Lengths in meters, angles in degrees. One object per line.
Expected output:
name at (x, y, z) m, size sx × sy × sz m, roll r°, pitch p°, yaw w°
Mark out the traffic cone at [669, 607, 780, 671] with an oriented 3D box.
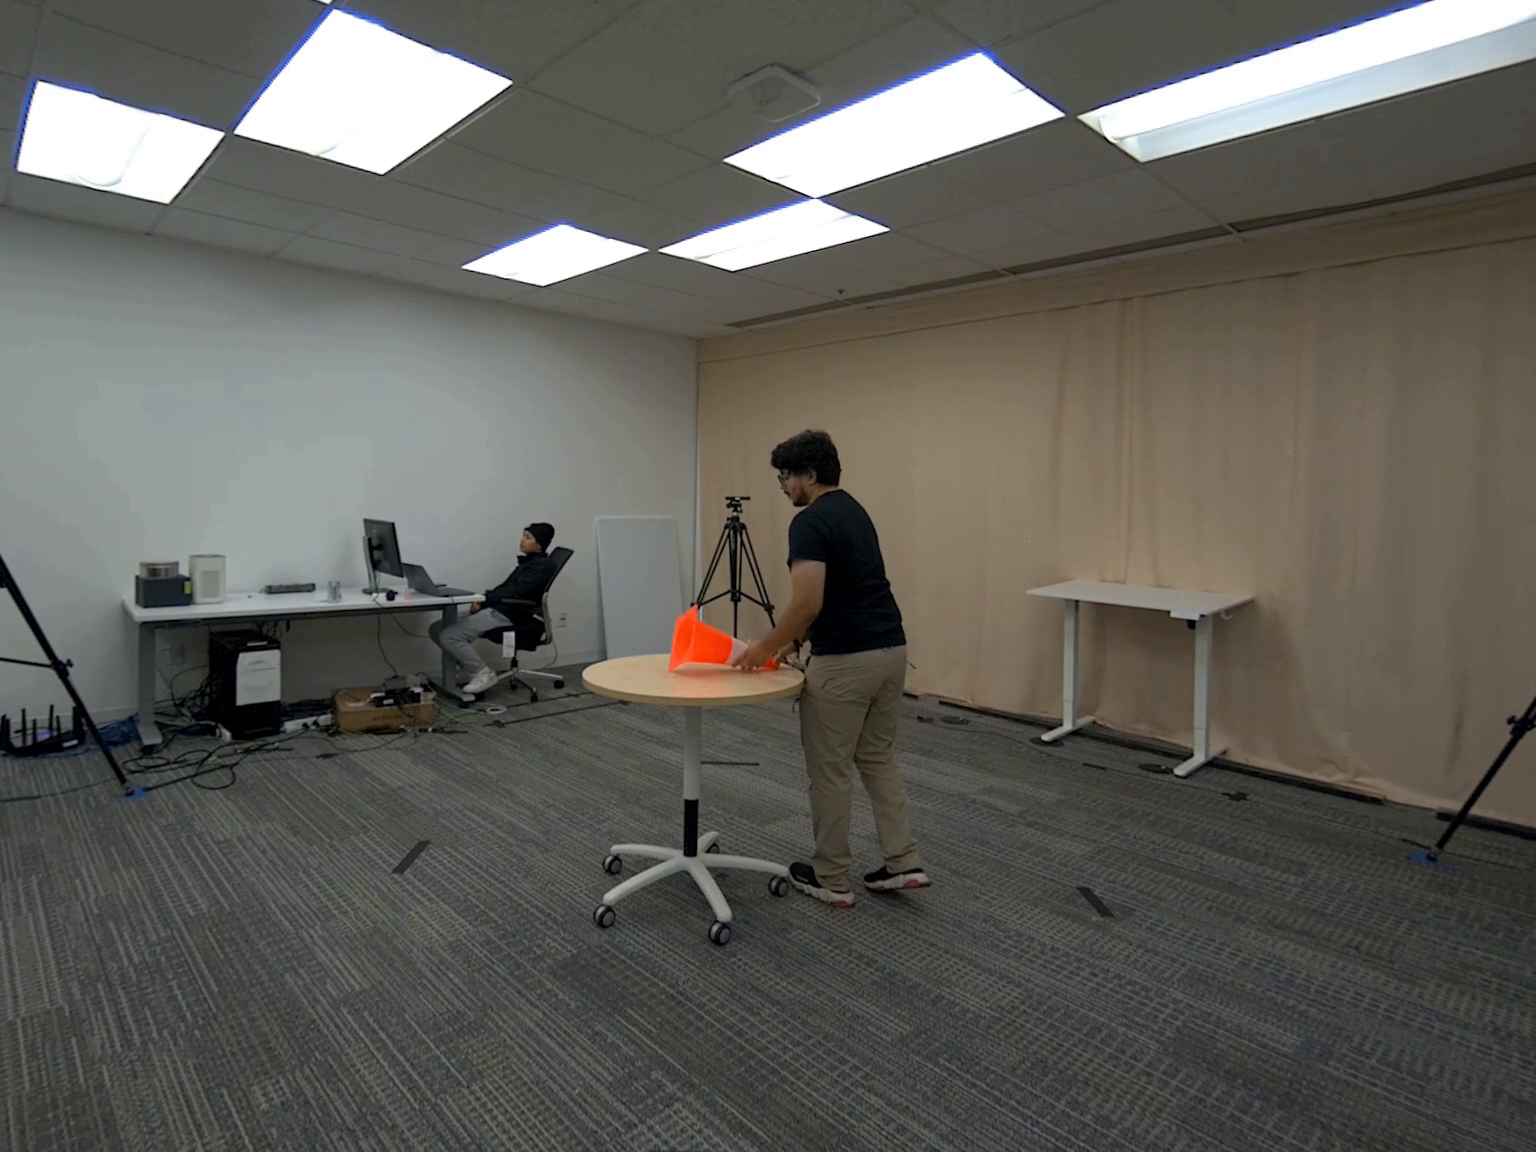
traffic cone at (-0.131, 0.268, 2.972) m, size 0.376 × 0.206 × 0.206 m, roll 16°, pitch -22°, yaw -22°
